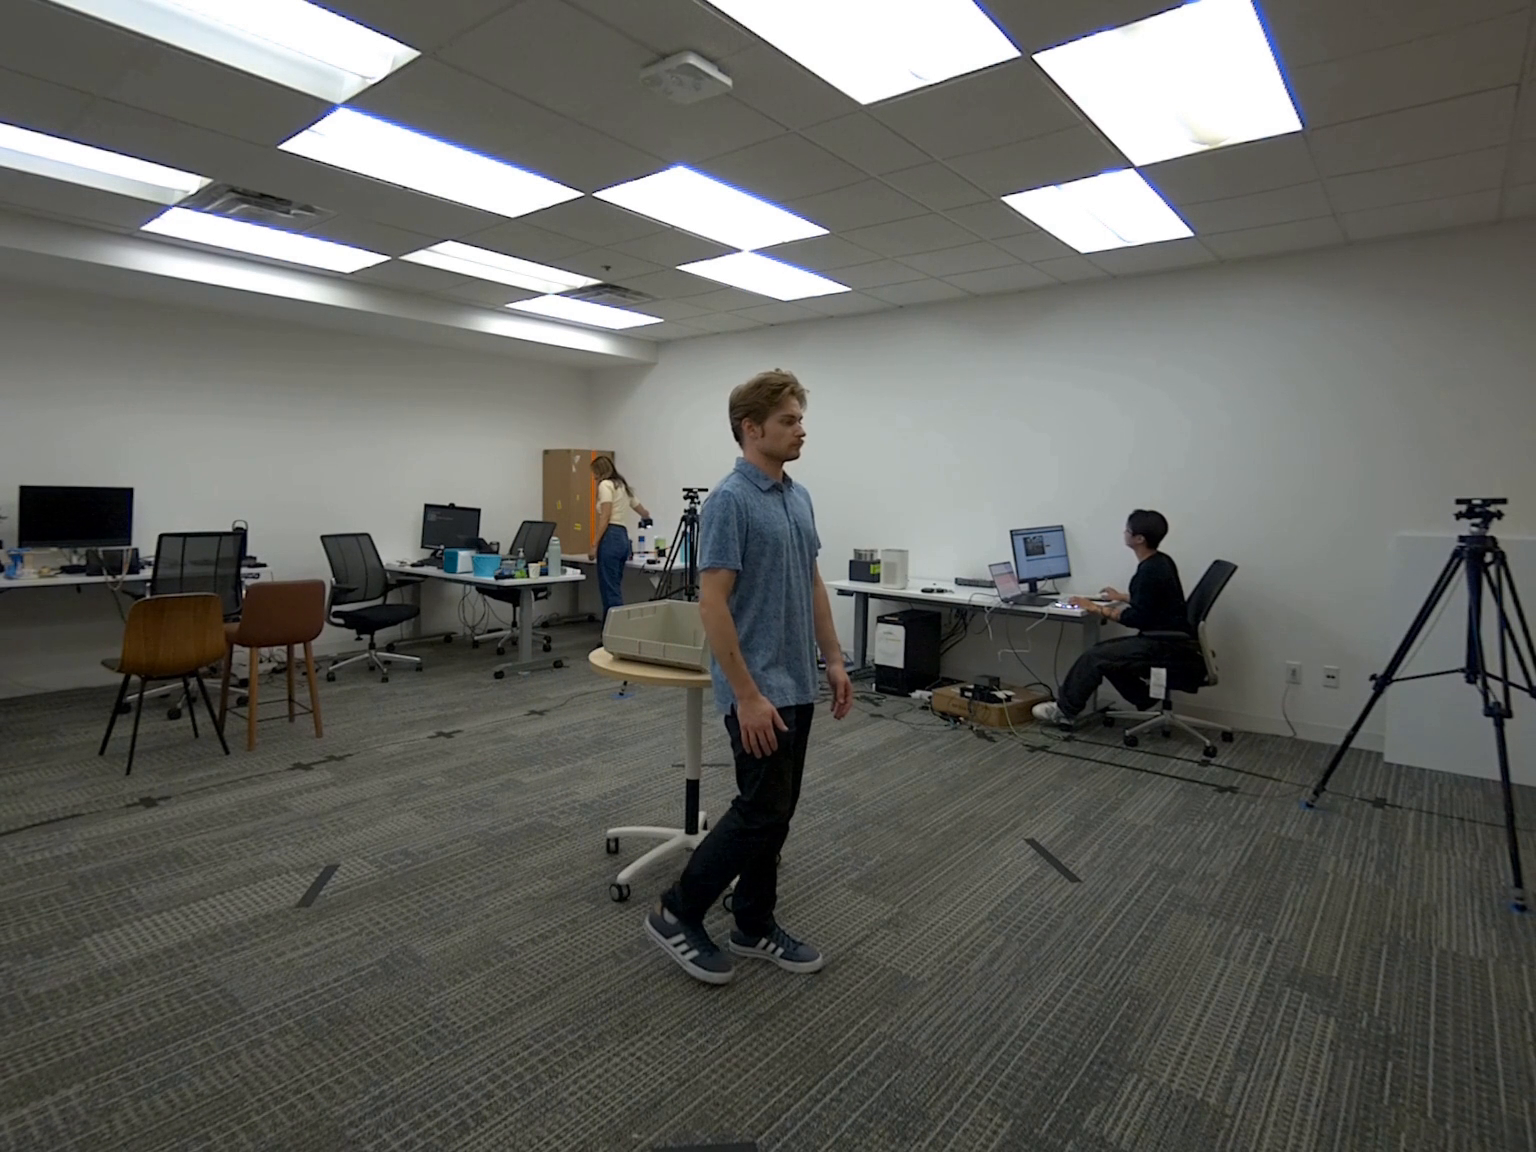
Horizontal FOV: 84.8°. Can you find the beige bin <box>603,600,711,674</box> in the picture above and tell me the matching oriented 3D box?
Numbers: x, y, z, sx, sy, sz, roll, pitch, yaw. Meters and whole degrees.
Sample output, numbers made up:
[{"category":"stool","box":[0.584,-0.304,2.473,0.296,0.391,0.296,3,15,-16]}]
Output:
[{"category":"beige bin","box":[-0.319,0.210,3.012,0.435,0.188,0.367,4,4,30]}]
